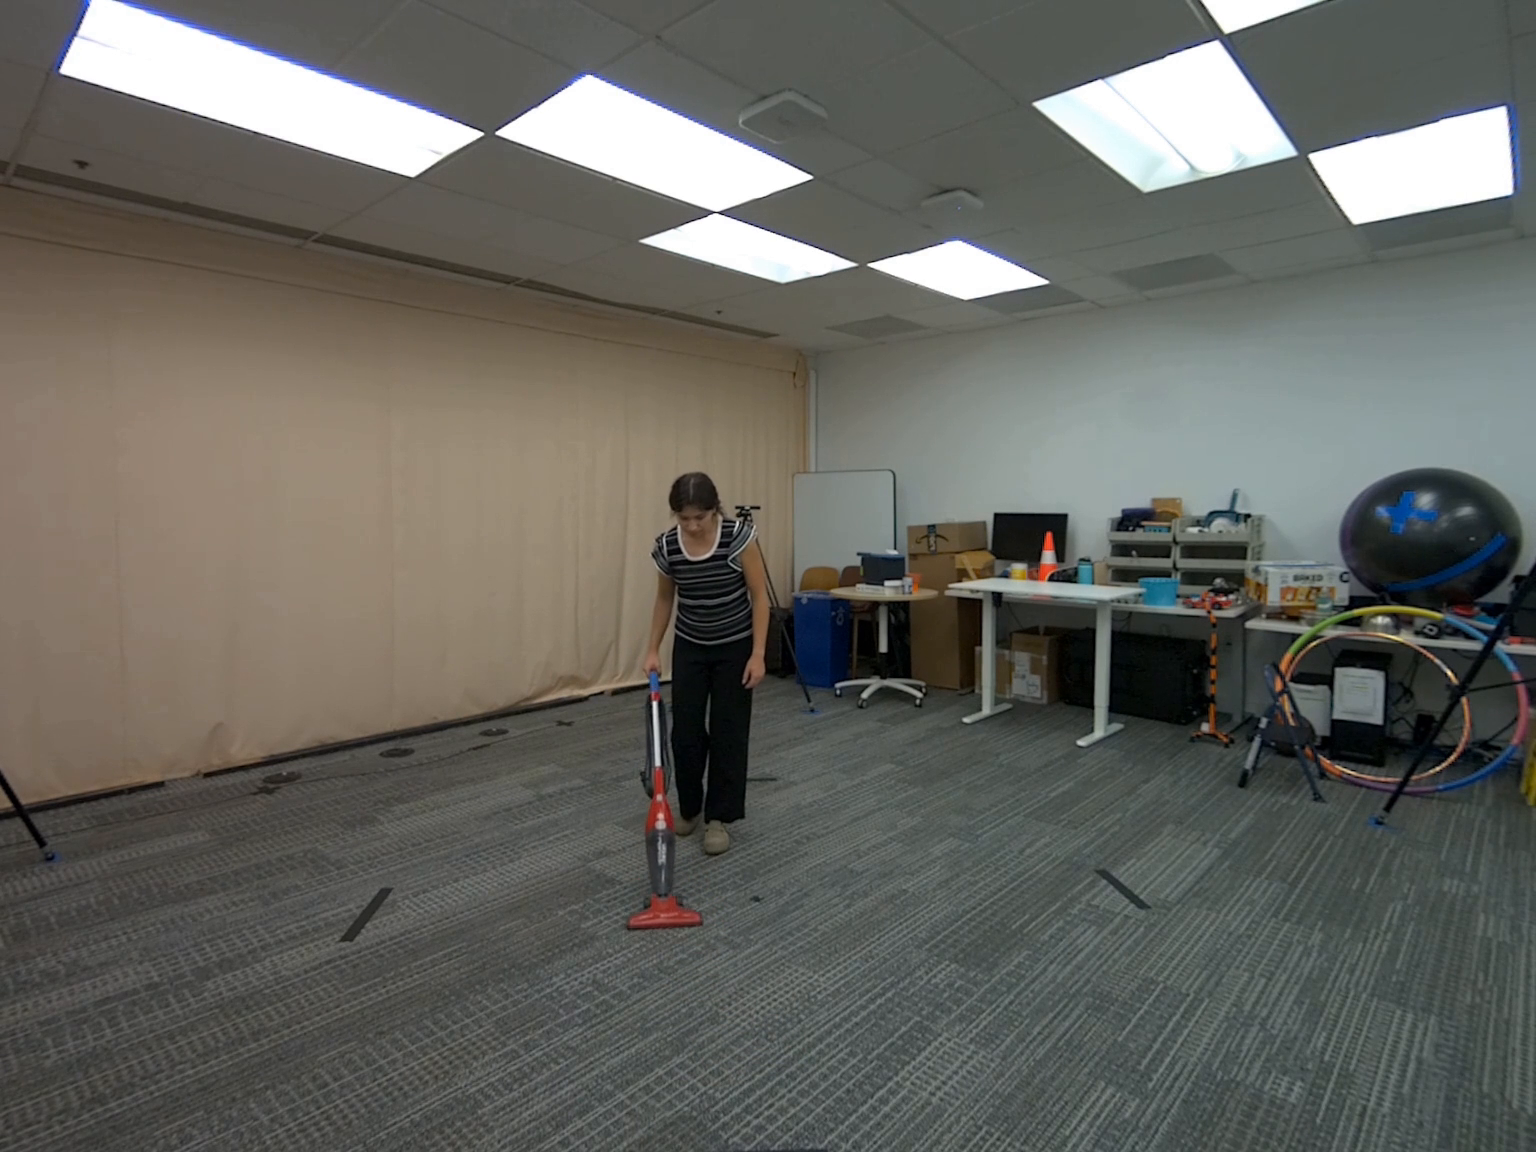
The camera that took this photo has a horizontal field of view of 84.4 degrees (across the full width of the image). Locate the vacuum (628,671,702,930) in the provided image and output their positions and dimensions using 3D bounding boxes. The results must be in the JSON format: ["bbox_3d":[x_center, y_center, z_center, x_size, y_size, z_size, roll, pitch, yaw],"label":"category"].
[{"bbox_3d":[-0.415,0.758,3.201,0.250,0.142,1.074,-3,47,-8],"label":"vacuum"}]
